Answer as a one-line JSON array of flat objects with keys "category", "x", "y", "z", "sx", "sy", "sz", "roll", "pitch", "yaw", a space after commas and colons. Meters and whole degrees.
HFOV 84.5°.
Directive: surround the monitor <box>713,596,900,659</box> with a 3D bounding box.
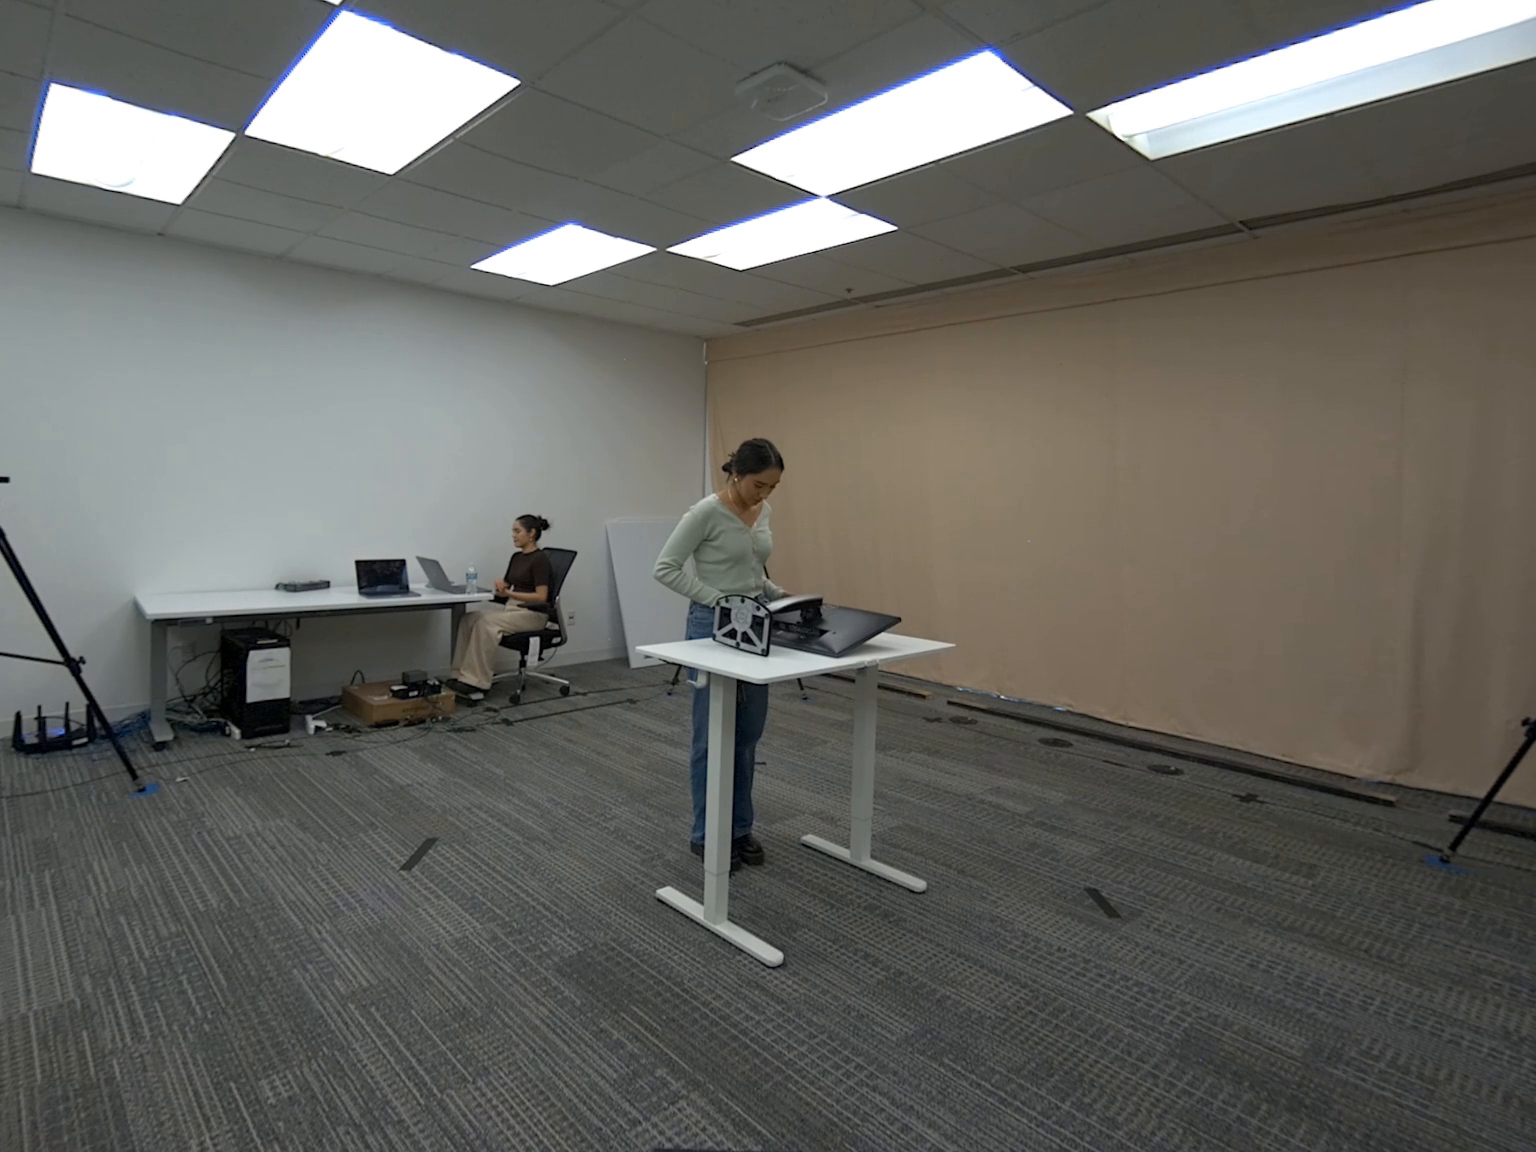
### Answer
[{"category": "monitor", "x": 0.075, "y": 0.157, "z": 2.937, "sx": 0.510, "sy": 0.186, "sz": 0.554, "roll": -1, "pitch": 9, "yaw": -42}]
